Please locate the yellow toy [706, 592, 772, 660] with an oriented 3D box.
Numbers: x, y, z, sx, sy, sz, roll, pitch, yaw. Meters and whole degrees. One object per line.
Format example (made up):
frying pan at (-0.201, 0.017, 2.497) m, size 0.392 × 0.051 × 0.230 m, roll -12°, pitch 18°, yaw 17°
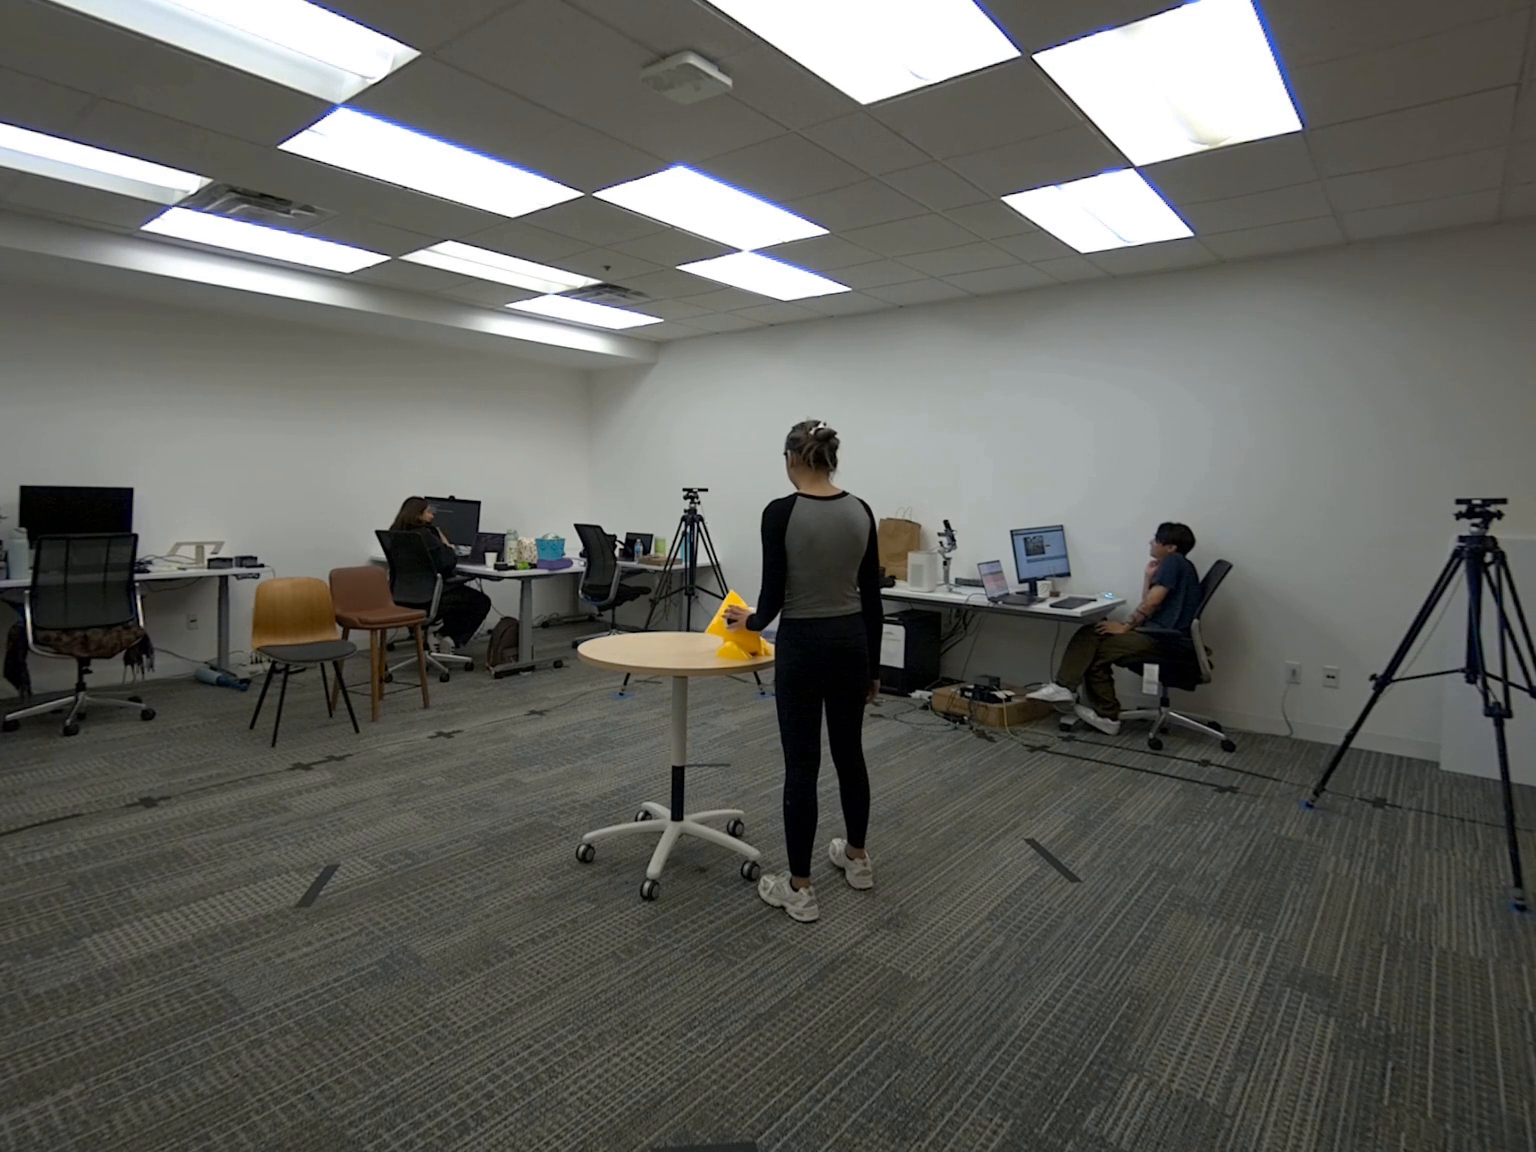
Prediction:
yellow toy at (-0.104, 0.169, 3.087) m, size 0.199 × 0.230 × 0.198 m, roll 4°, pitch 5°, yaw 43°
